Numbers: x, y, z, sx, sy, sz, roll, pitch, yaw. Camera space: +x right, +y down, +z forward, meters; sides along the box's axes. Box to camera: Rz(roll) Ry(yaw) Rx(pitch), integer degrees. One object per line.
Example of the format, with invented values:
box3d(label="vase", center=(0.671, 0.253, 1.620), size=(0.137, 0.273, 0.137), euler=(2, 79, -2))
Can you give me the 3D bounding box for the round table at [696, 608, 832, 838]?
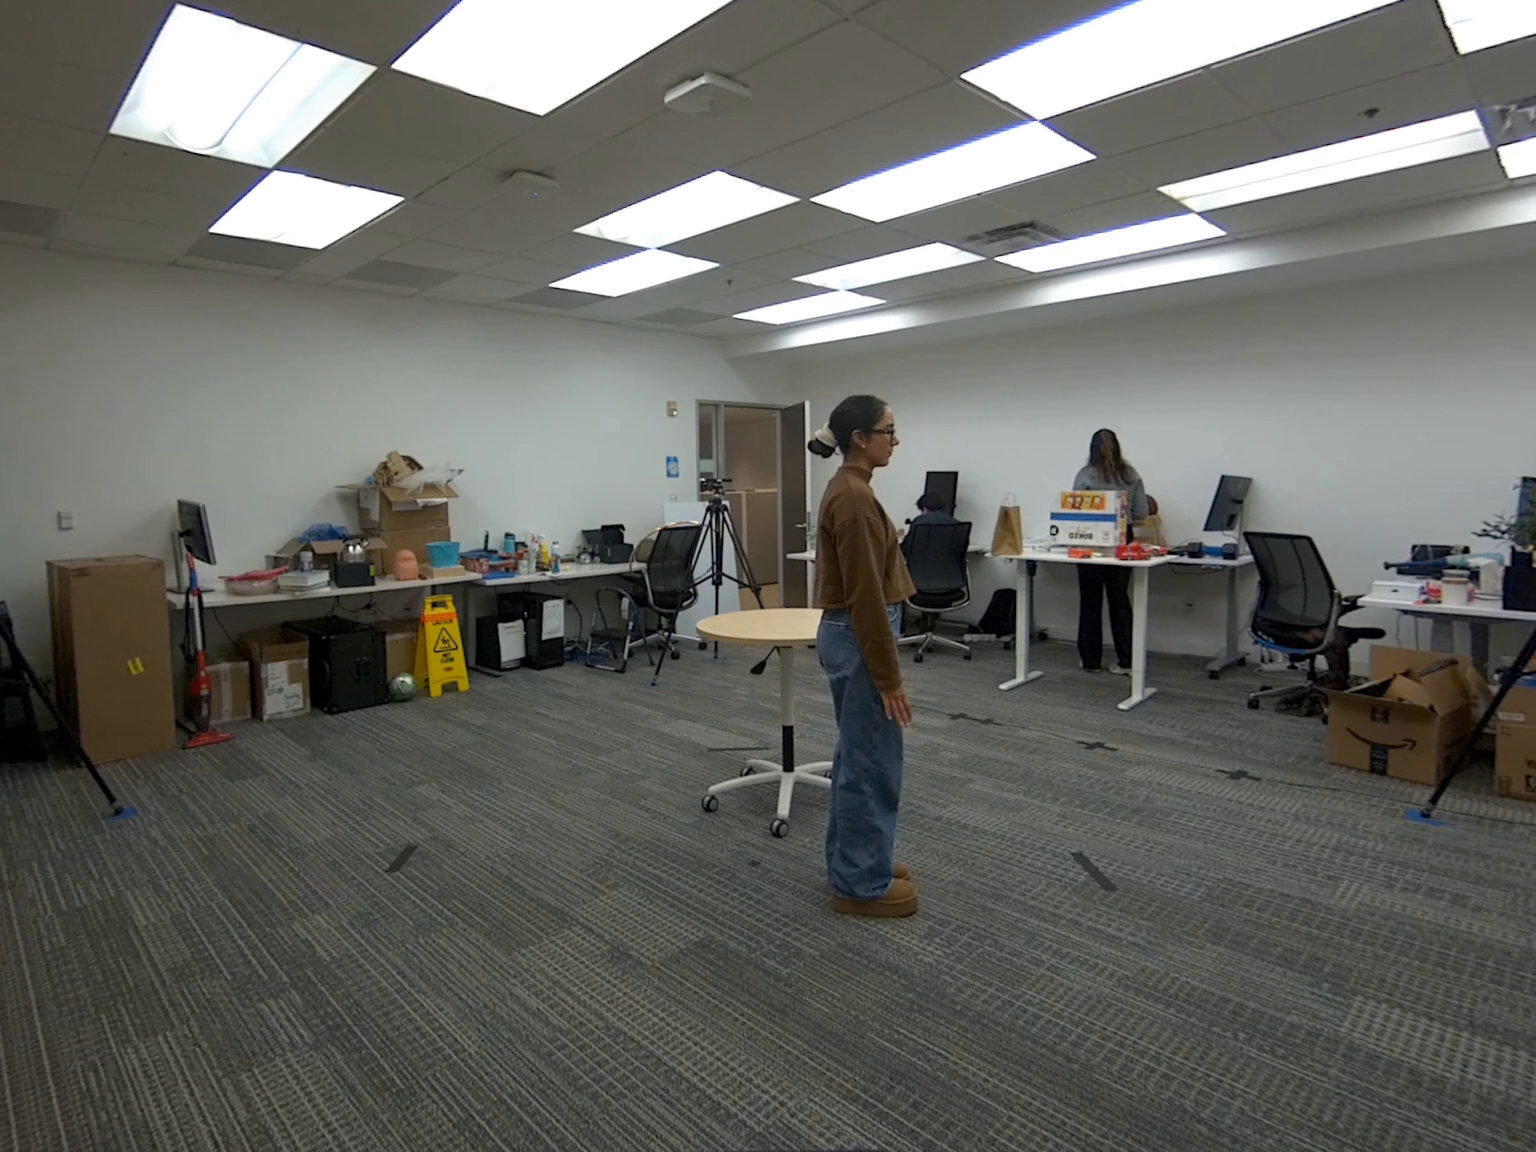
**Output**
box3d(label="round table", center=(0.078, 0.587, 3.674), size=(0.784, 0.783, 0.789), euler=(-1, 5, -2))
